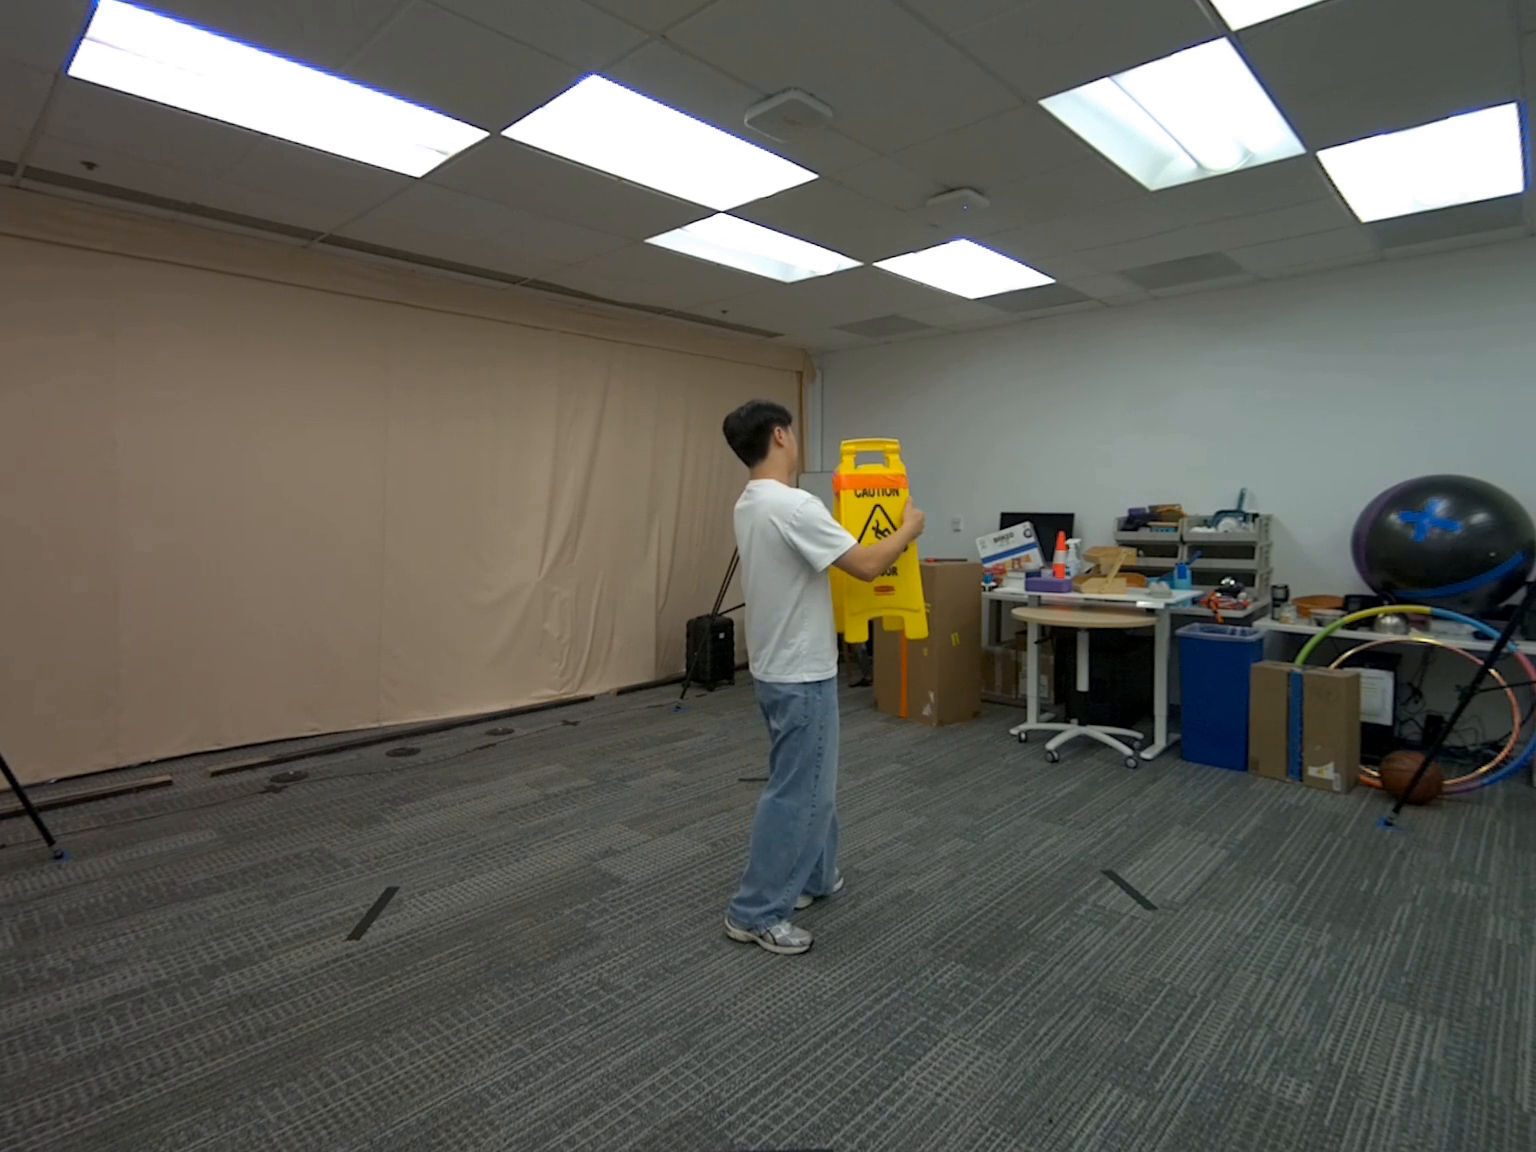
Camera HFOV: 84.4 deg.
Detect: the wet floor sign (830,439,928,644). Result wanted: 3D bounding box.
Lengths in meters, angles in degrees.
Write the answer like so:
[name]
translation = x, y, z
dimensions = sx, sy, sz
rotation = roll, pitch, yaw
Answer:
[wet floor sign]
translation = 0.362, -0.126, 2.784
dimensions = 0.280, 0.645, 0.292
rotation = -3, 2, -7
